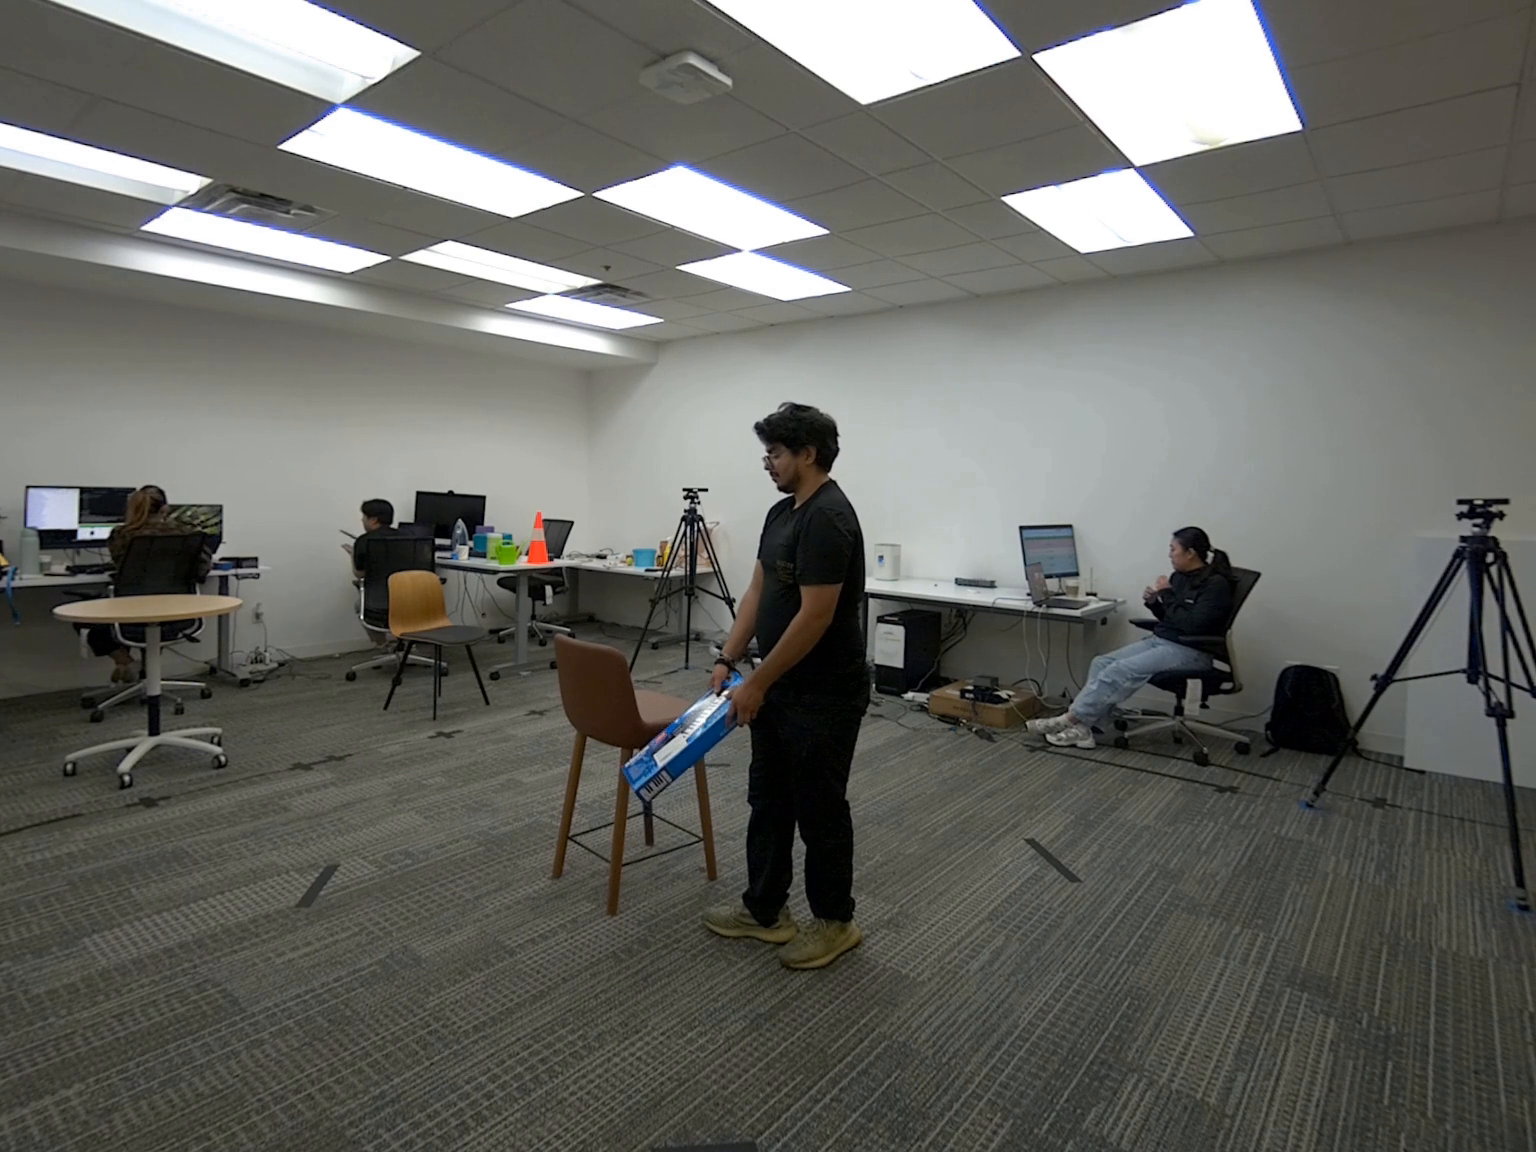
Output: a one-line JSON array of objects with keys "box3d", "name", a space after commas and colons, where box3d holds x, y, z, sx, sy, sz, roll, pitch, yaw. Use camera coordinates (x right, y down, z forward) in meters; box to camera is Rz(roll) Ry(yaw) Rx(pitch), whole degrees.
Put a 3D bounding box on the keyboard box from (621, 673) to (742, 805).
[{"box3d": [-0.231, 0.465, 2.456, 0.436, 0.057, 0.181, -39, 21, -8], "name": "keyboard box"}]
